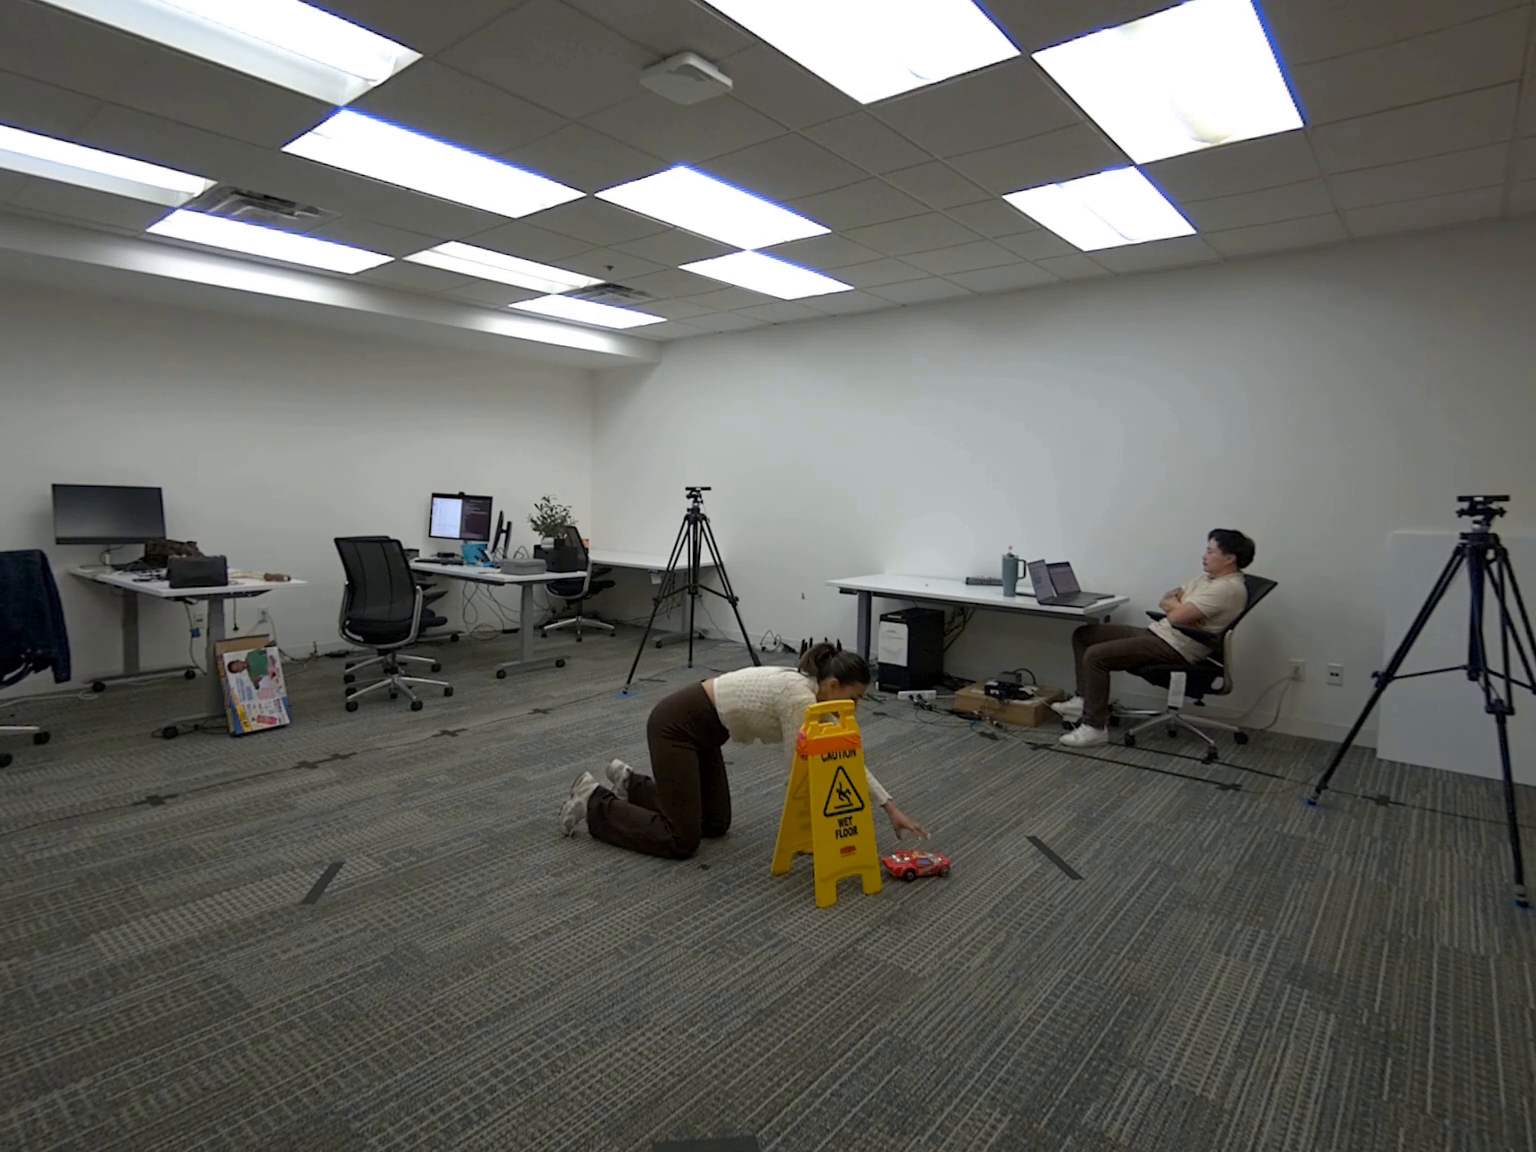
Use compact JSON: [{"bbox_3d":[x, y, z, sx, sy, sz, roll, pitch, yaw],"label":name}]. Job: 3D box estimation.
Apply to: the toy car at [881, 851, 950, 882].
[{"bbox_3d":[0.525,1.054,3.092,0.249,0.083,0.133,12,4,-18],"label":"toy car"}]
